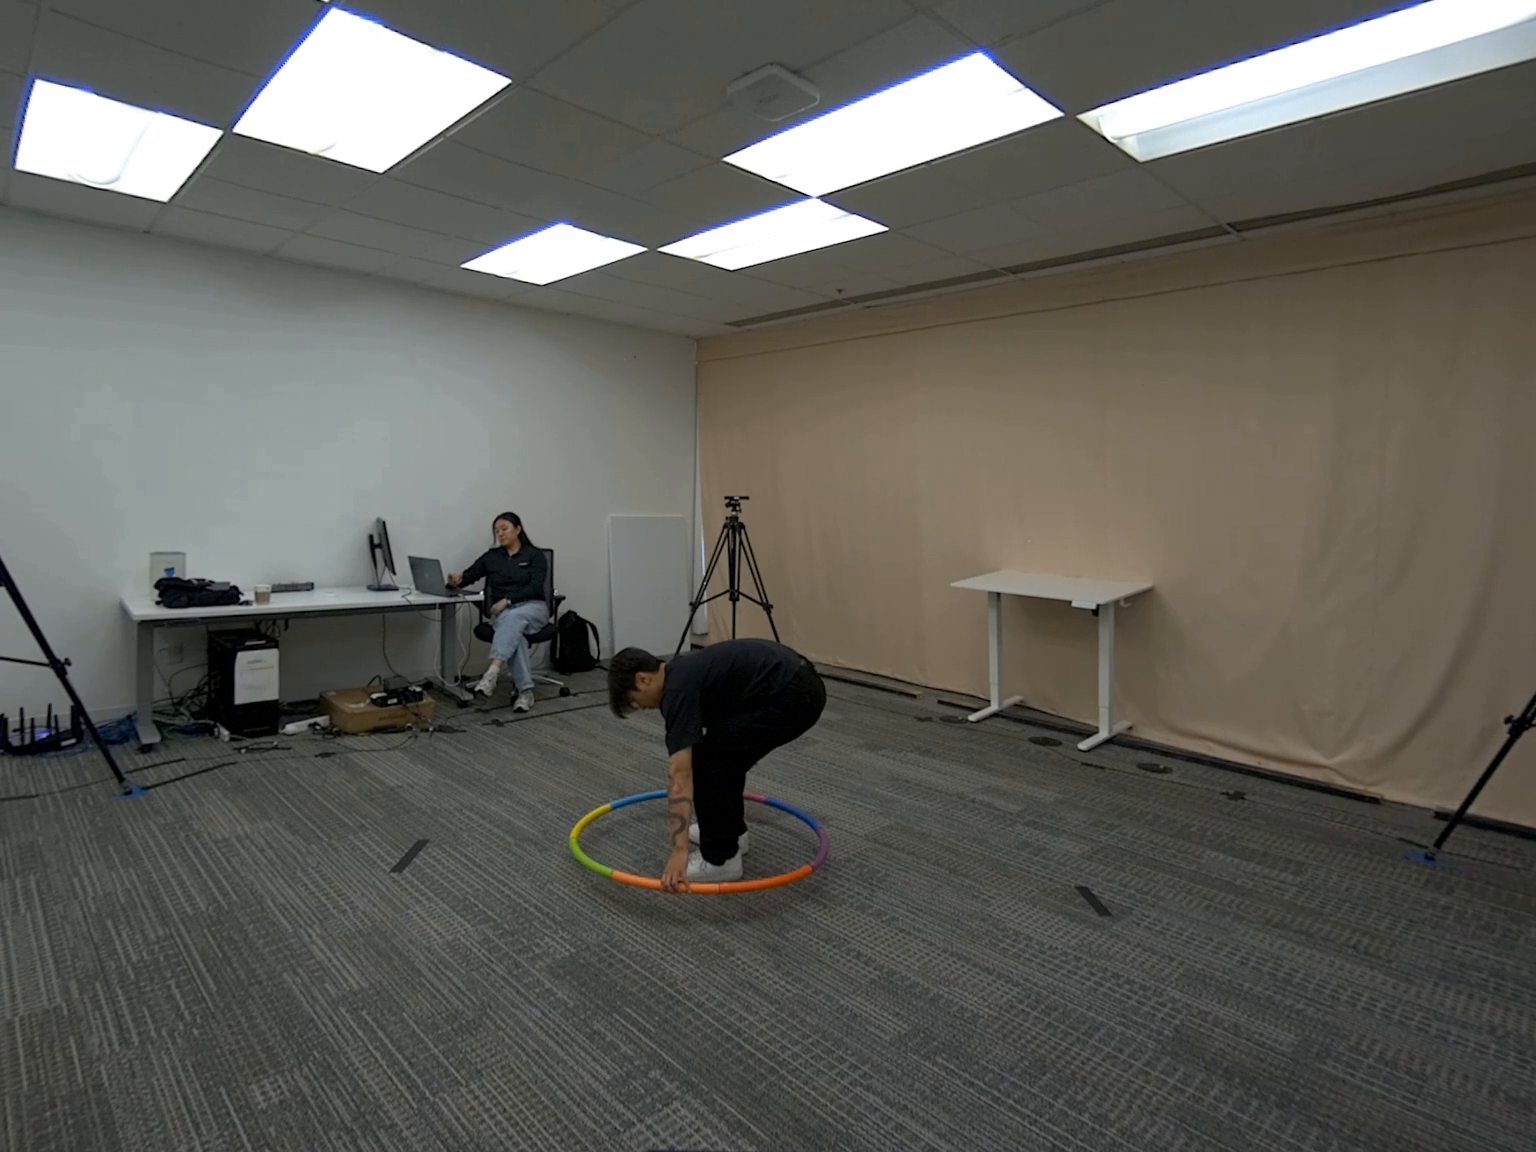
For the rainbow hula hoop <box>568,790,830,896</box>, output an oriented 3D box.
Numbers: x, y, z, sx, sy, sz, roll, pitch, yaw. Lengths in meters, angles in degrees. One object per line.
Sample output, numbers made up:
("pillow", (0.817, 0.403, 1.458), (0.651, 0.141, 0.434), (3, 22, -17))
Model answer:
("rainbow hula hoop", (-0.263, 0.989, 3.234), (0.978, 0.035, 0.982), (1, 5, -1))
